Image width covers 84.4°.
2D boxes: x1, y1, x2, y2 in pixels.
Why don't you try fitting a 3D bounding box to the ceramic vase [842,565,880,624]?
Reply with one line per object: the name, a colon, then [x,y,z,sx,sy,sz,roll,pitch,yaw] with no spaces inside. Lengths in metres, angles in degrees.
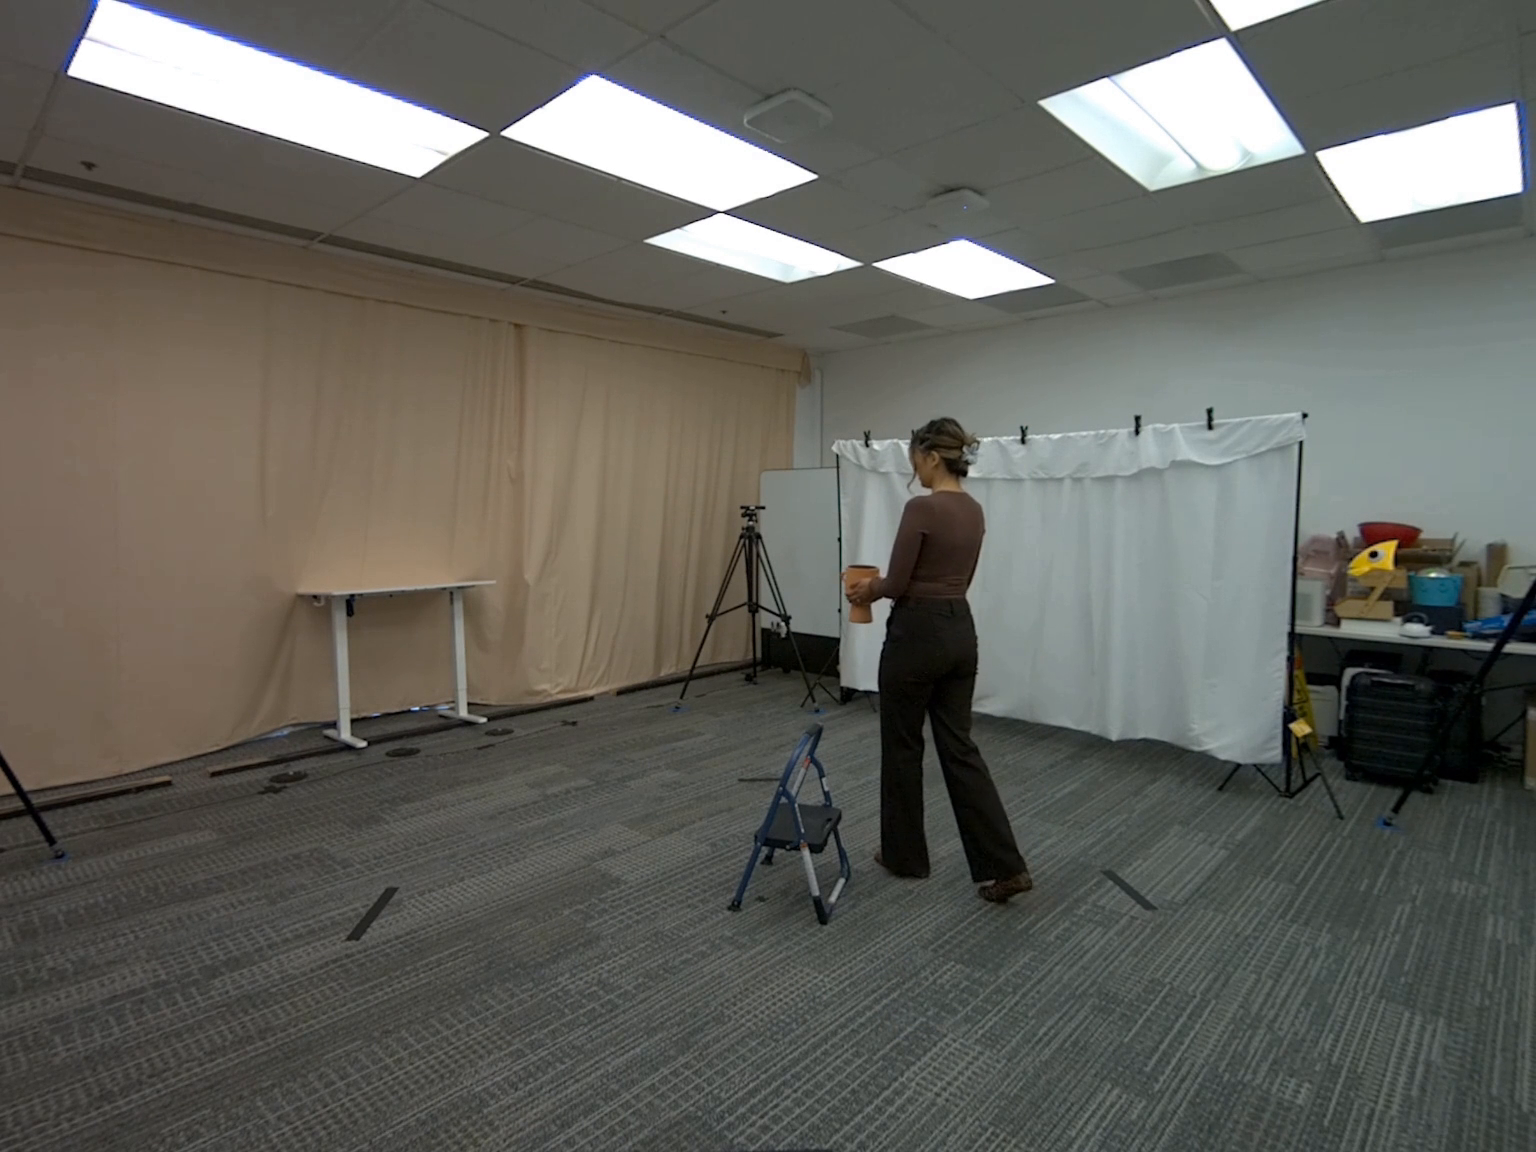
ceramic vase: [0.386,0.075,3.370,0.133,0.219,0.161,0,8,-11]
